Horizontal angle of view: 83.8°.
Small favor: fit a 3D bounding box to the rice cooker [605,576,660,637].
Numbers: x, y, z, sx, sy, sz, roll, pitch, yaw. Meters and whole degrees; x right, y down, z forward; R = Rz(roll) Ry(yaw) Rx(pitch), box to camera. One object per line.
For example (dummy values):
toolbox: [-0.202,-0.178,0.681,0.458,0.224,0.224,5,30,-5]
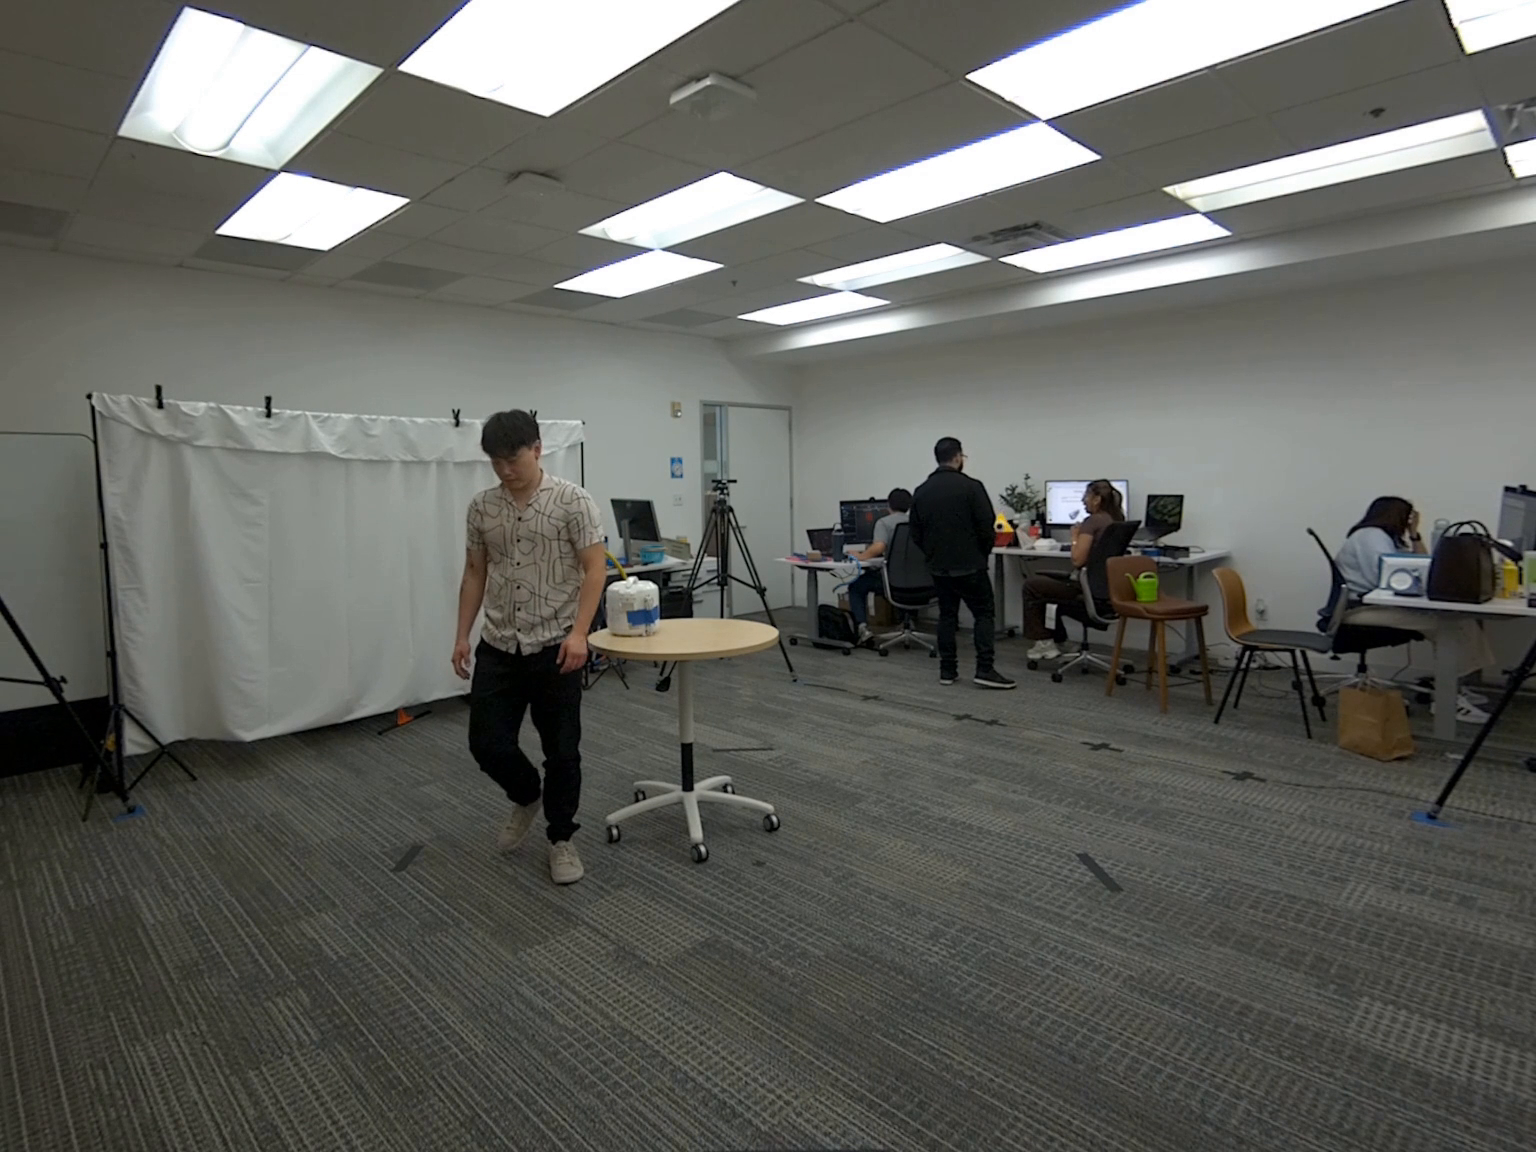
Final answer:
rice cooker: [-0.552,0.117,3.488,0.218,0.232,0.220,0,5,5]
